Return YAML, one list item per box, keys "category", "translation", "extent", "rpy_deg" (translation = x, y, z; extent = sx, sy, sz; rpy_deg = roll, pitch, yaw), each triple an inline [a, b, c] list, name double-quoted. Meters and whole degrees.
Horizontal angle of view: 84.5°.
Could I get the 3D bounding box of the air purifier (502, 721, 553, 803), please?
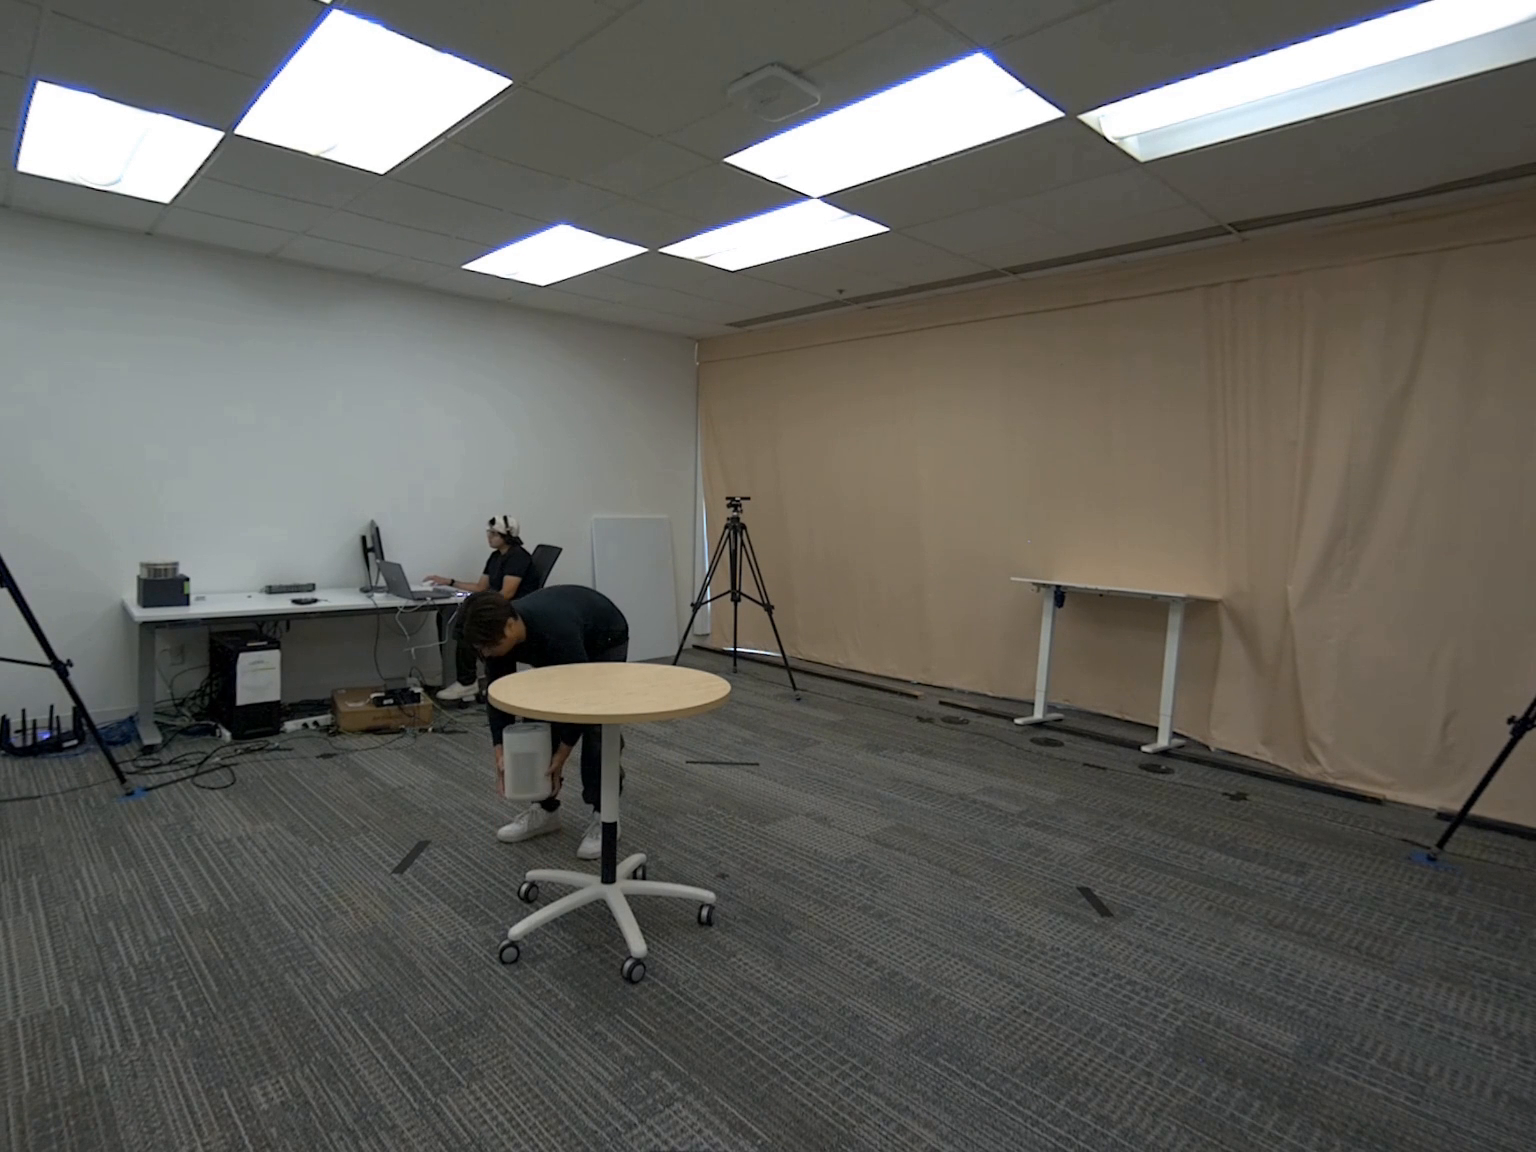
- category: "air purifier"
  translation: [-0.918, 0.695, 3.177]
  extent: [0.171, 0.266, 0.171]
  rpy_deg: [-2, -2, -6]
